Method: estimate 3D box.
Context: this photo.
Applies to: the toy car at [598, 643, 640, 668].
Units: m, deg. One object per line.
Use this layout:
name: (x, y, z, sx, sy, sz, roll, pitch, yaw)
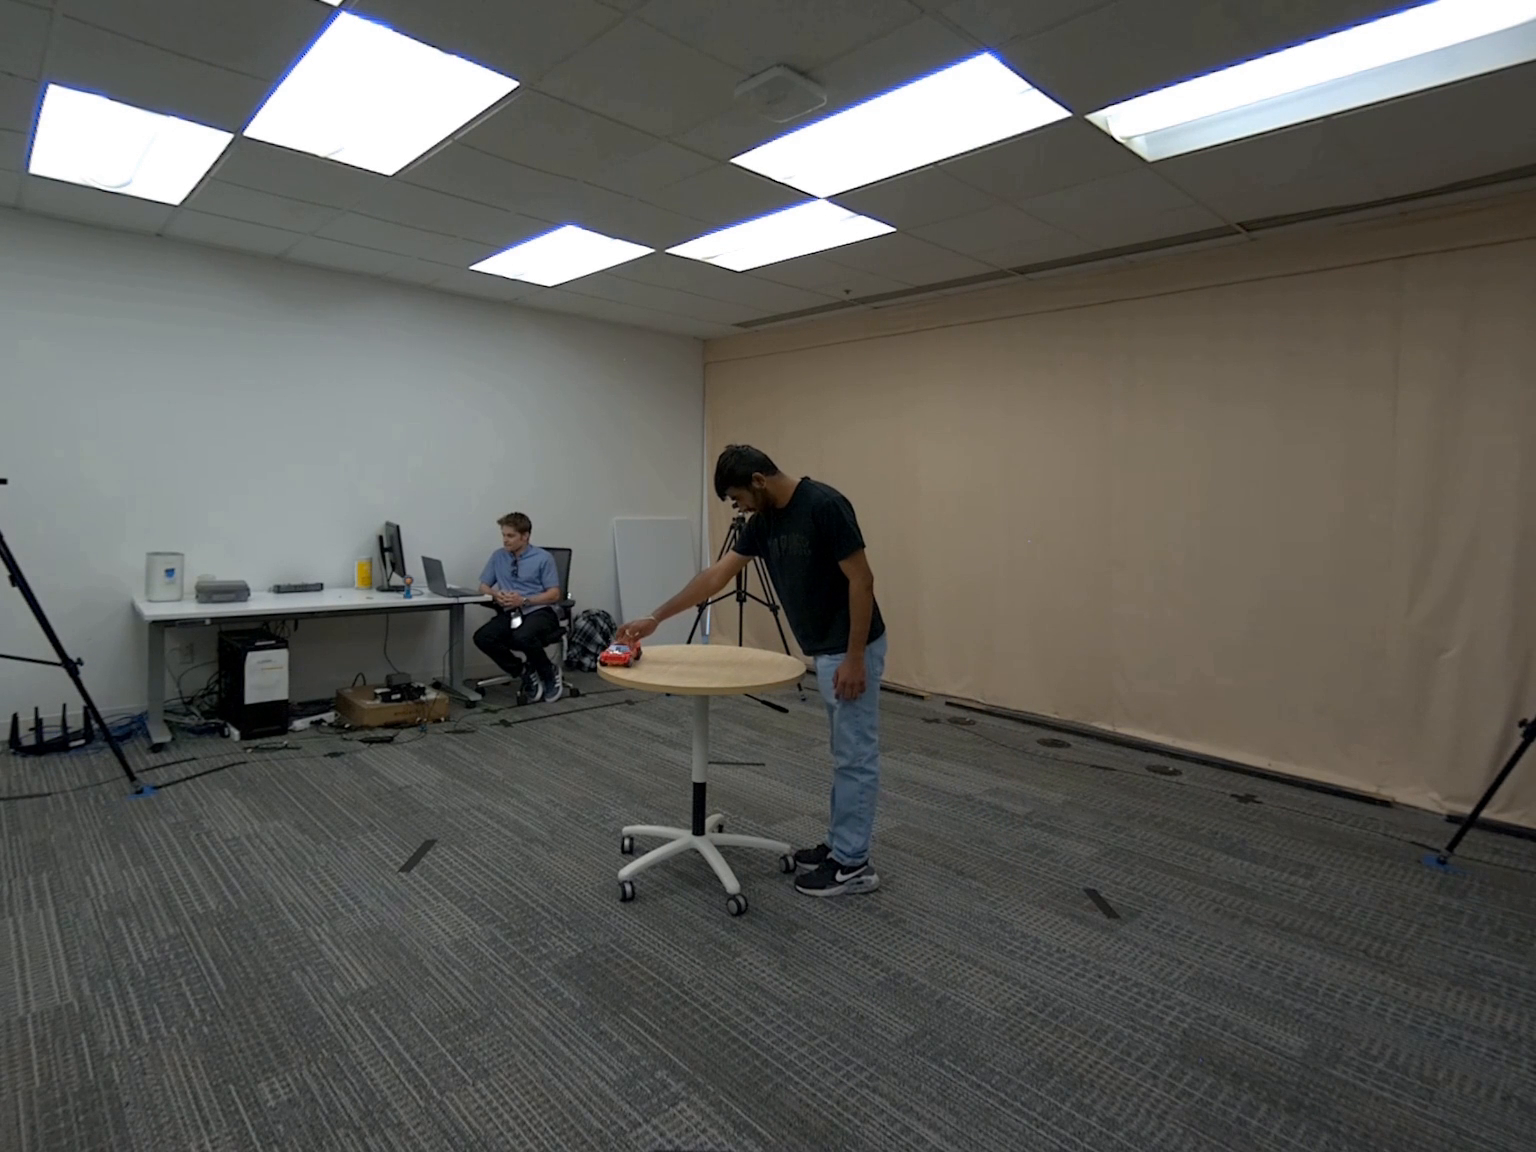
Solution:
toy car: (-0.535, 0.281, 3.092, 0.131, 0.082, 0.256, 2, 15, 2)
